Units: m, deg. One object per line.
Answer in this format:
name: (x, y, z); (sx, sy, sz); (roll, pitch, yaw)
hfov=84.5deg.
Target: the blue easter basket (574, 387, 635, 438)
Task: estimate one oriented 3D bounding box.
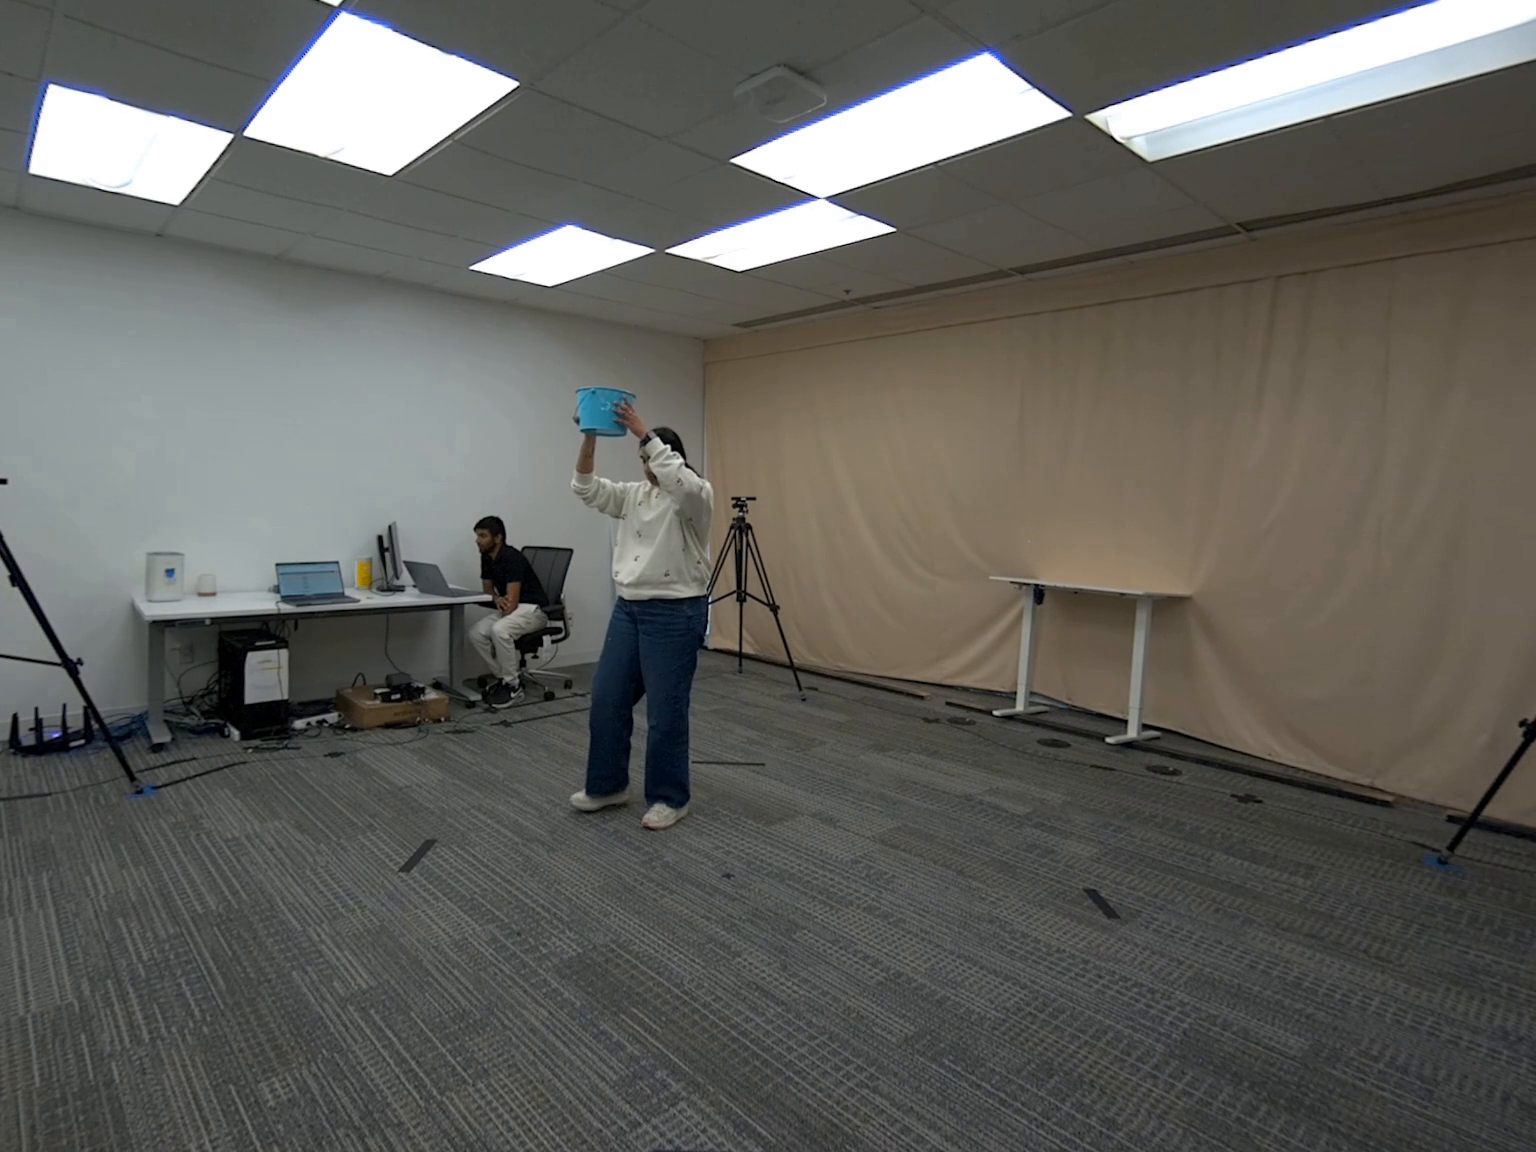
blue easter basket: (-0.647, -0.634, 3.275); (0.243, 0.156, 0.243); (4, 0, -1)
